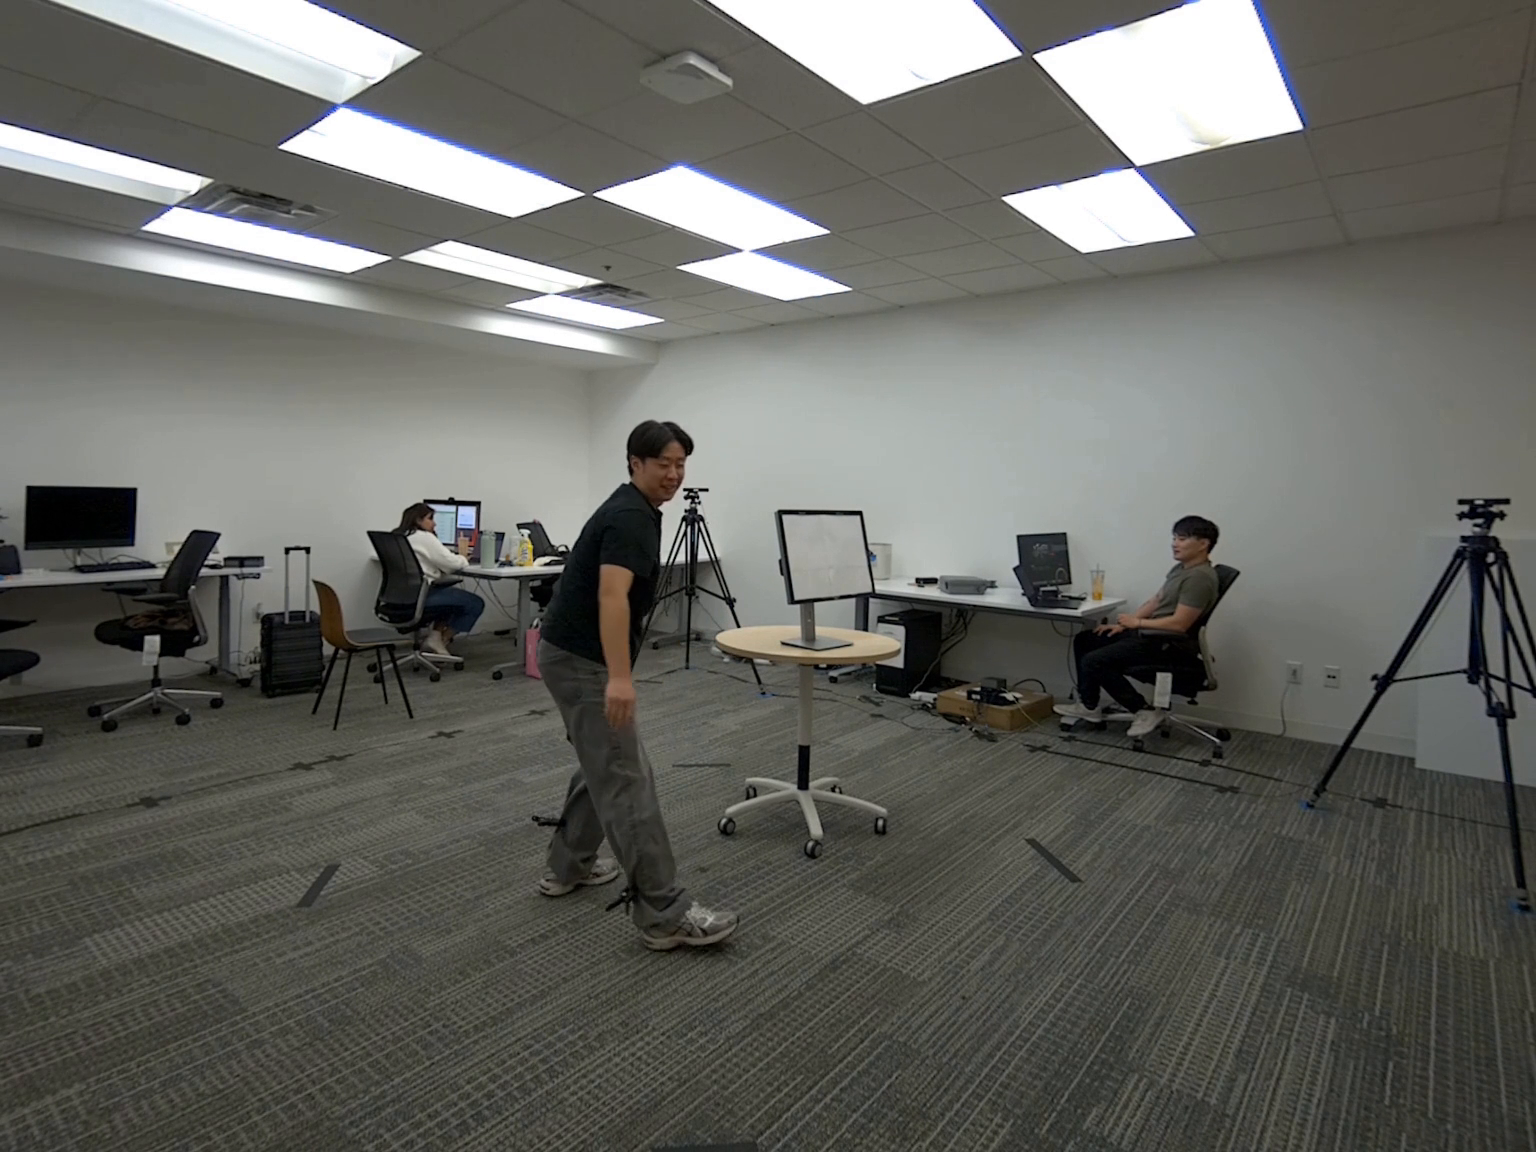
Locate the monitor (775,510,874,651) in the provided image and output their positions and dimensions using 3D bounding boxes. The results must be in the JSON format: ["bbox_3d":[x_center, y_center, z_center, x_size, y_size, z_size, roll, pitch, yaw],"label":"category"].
[{"bbox_3d":[0.184,0.007,3.448,0.216,0.555,0.548,-5,-1,41],"label":"monitor"}]
